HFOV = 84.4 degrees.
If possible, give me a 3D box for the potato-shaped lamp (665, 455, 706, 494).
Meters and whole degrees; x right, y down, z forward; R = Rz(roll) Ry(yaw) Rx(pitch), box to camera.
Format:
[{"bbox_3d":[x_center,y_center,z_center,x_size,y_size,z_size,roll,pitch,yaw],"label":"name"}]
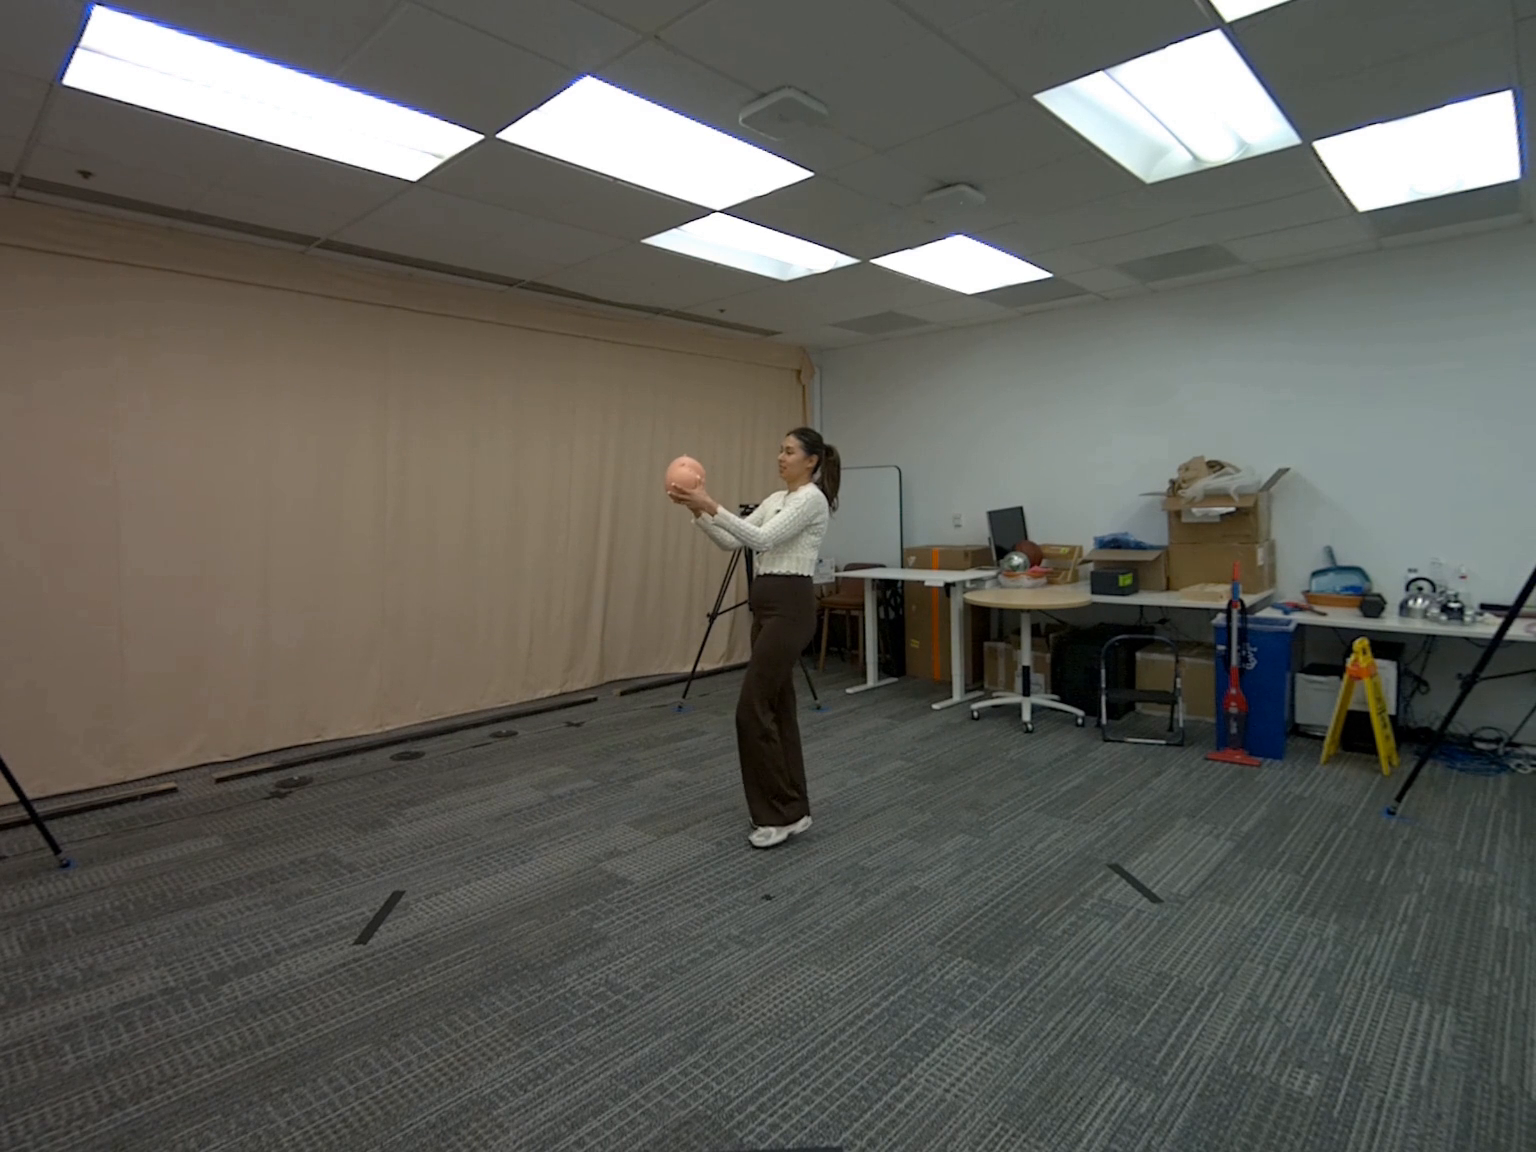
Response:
[{"bbox_3d":[-0.334,-0.388,3.422,0.160,0.172,0.202,43,10,-24],"label":"potato-shaped lamp"}]
